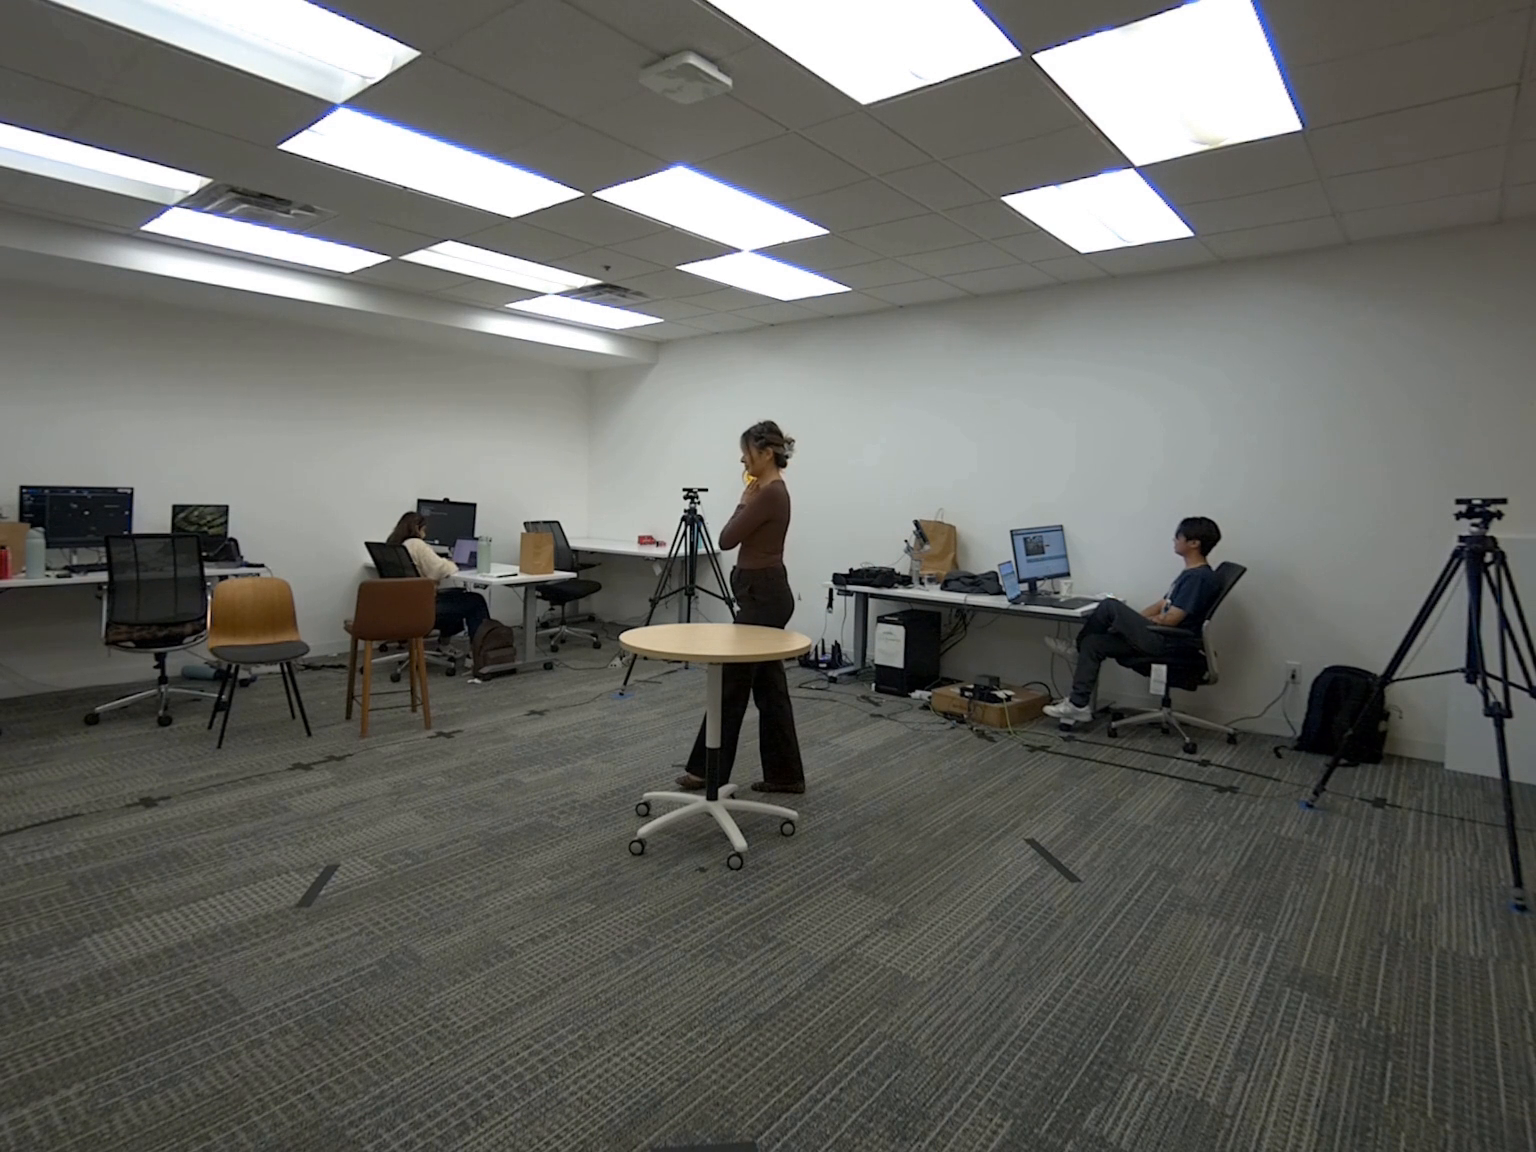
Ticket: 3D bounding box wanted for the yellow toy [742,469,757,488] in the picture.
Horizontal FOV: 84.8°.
[{"bbox_3d":[-0.039,-0.548,4.046,0.193,0.233,0.203,-9,-7,-1],"label":"yellow toy"}]
